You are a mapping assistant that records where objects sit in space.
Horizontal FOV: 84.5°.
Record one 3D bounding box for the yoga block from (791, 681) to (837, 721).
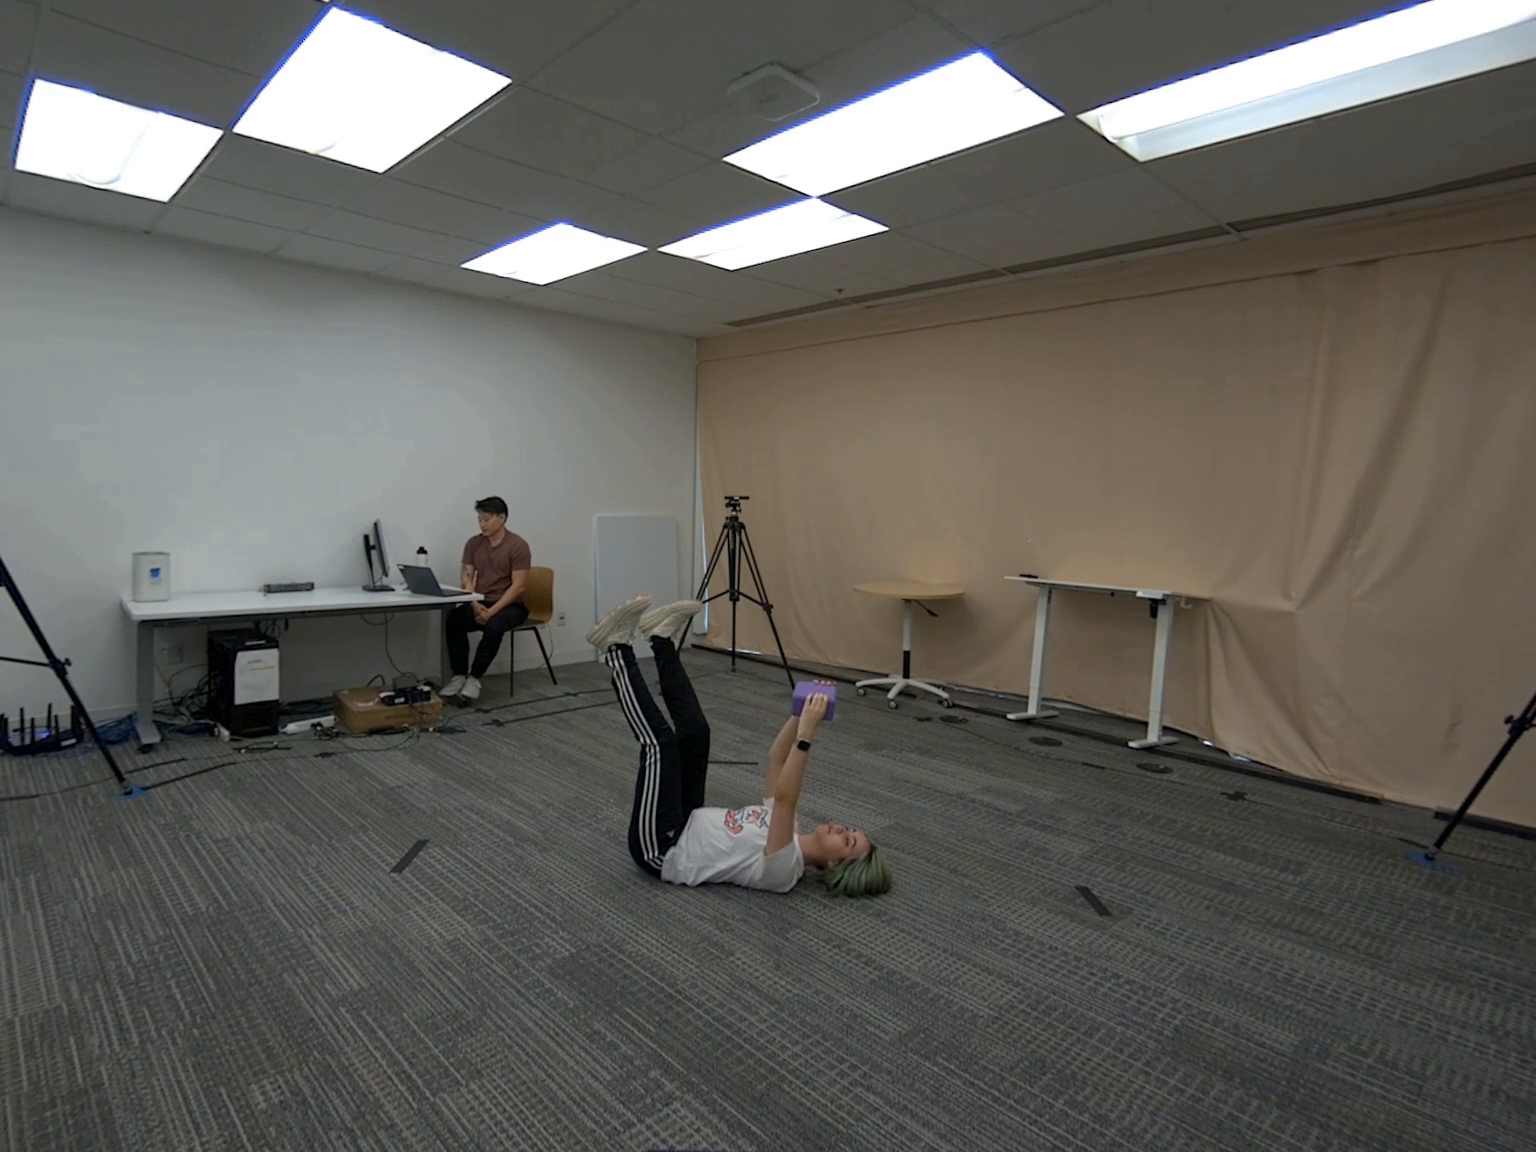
[{"bbox_3d":[0.158,0.447,3.032,0.150,0.076,0.229,6,9,5],"label":"yoga block"}]
